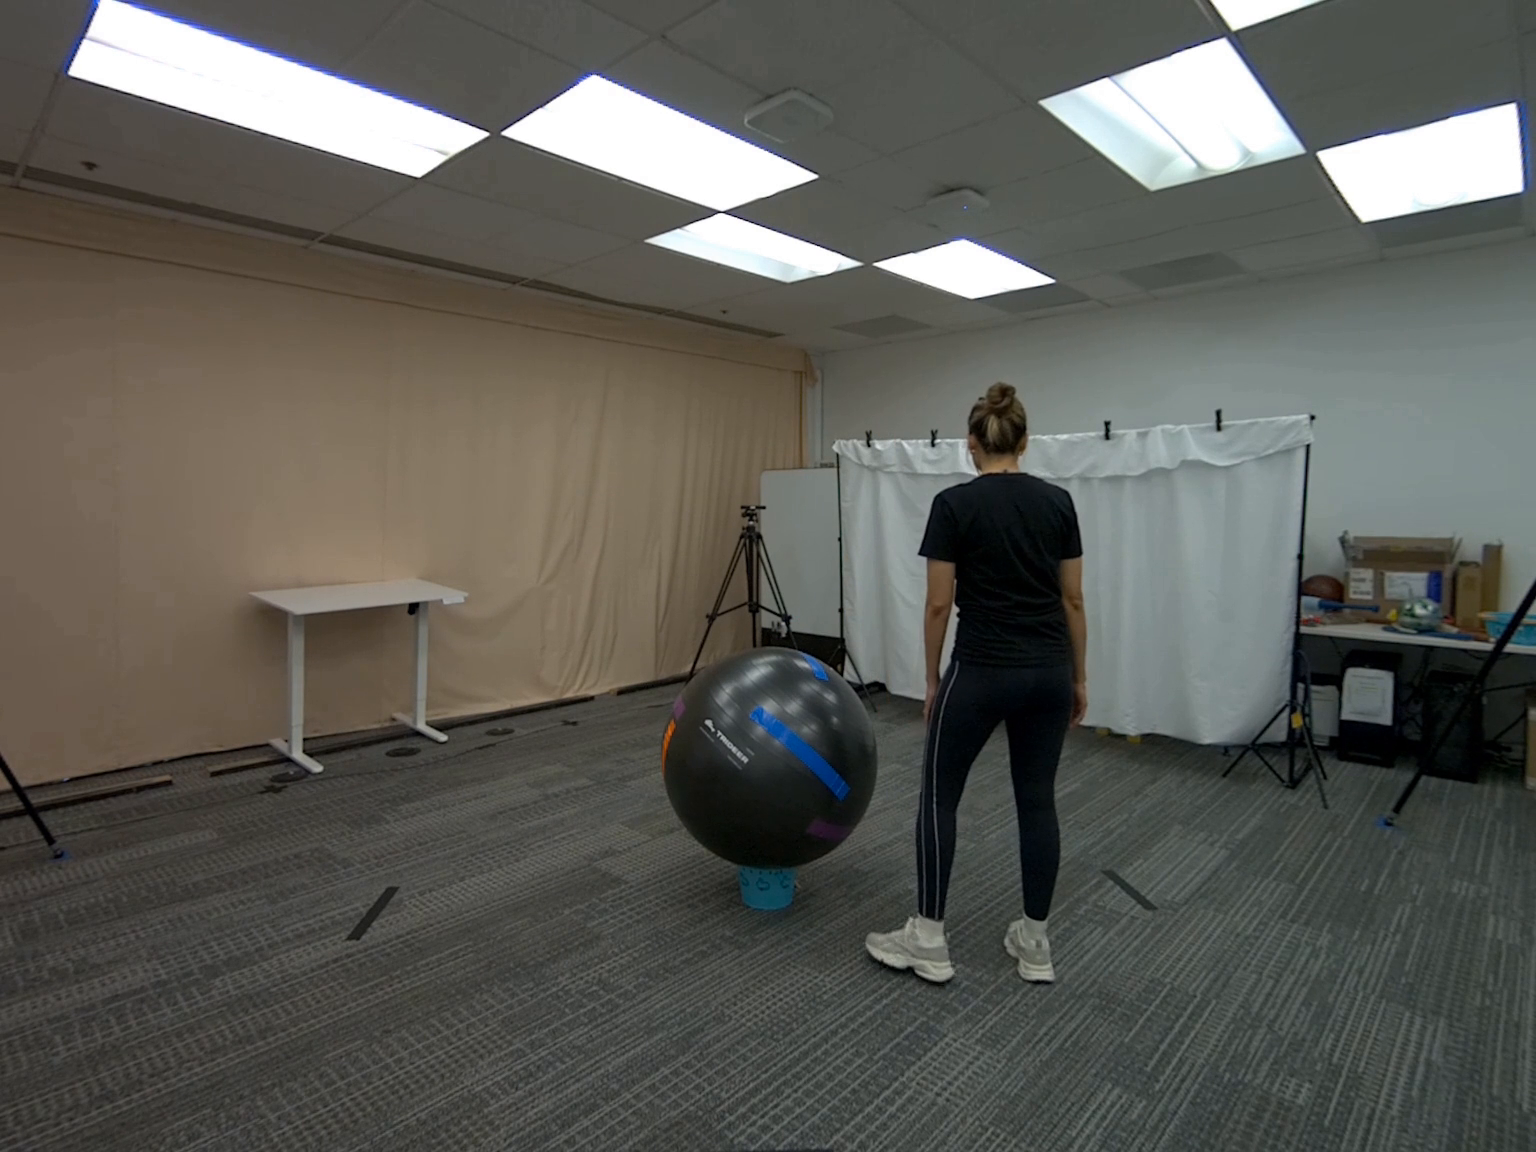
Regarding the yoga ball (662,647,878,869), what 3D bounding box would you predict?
[{"bbox_3d":[0.009,0.635,2.968,0.757,0.756,0.760,0,4,-2],"label":"yoga ball"}]
